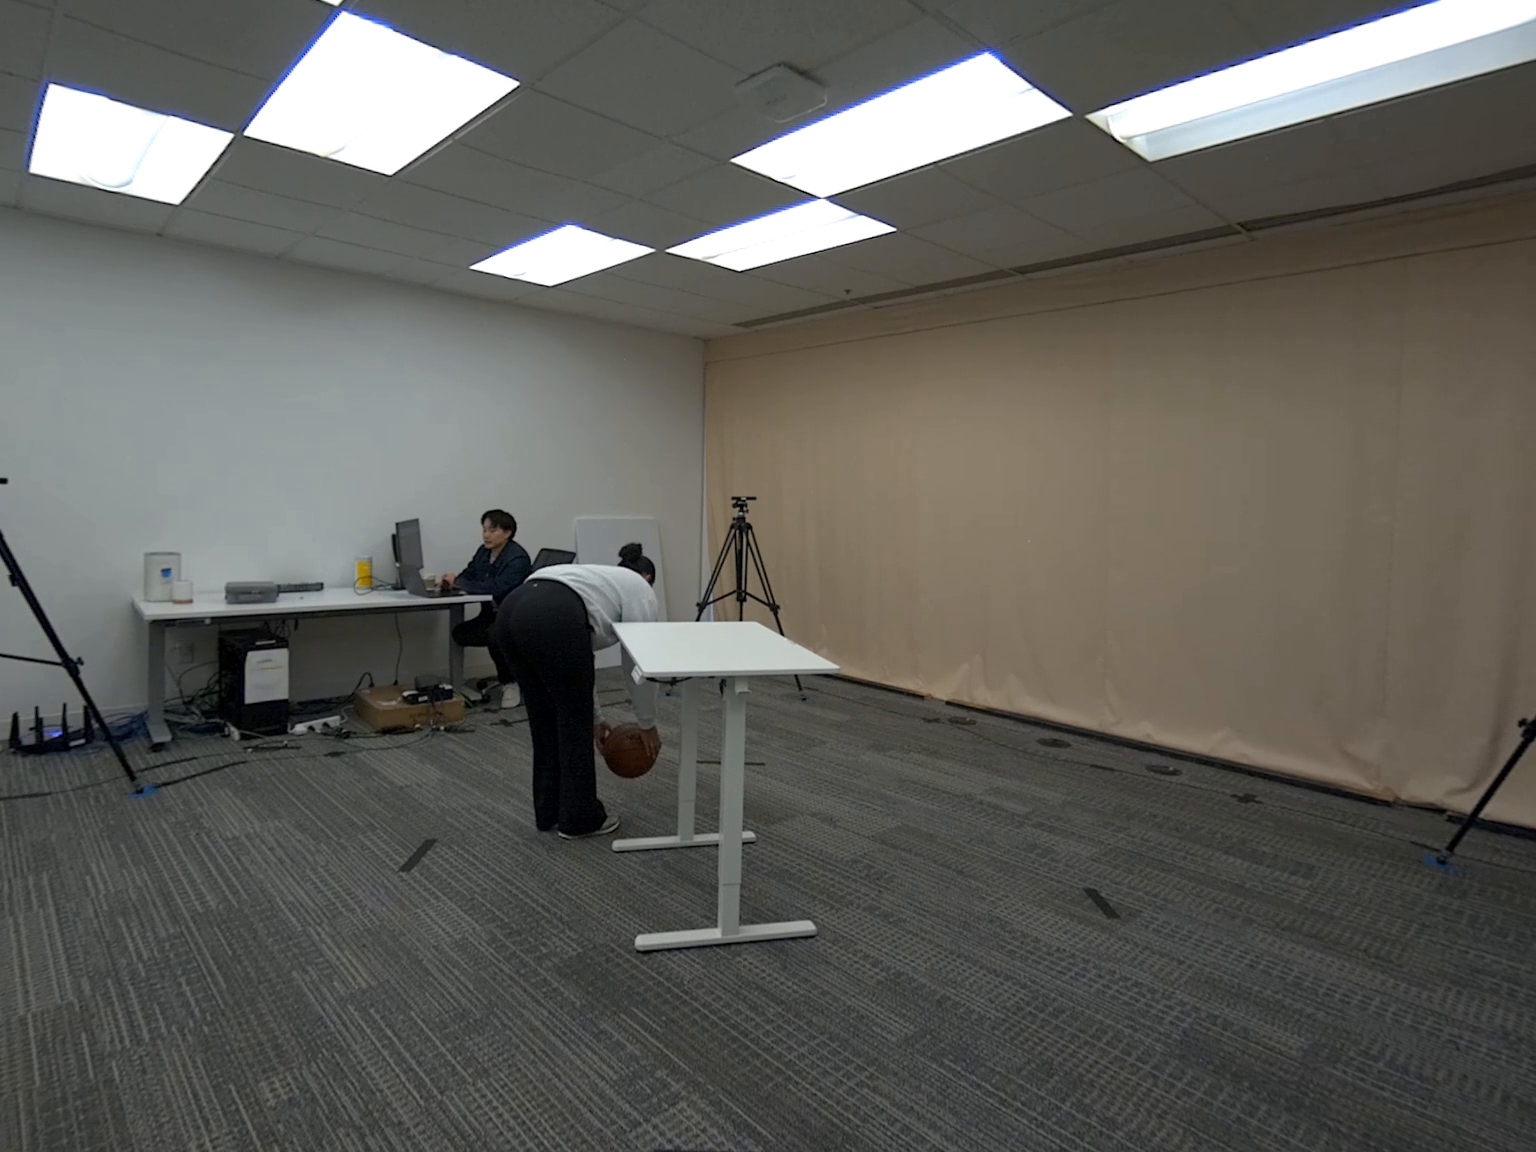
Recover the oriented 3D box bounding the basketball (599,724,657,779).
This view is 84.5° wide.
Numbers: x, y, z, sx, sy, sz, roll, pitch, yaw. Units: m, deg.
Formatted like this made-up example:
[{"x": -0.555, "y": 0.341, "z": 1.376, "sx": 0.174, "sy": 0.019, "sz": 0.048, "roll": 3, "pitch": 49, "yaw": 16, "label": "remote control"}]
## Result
[{"x": -0.613, "y": 0.751, "z": 3.672, "sx": 0.236, "sy": 0.235, "sz": 0.237, "roll": 1, "pitch": 4, "yaw": -1, "label": "basketball"}]
